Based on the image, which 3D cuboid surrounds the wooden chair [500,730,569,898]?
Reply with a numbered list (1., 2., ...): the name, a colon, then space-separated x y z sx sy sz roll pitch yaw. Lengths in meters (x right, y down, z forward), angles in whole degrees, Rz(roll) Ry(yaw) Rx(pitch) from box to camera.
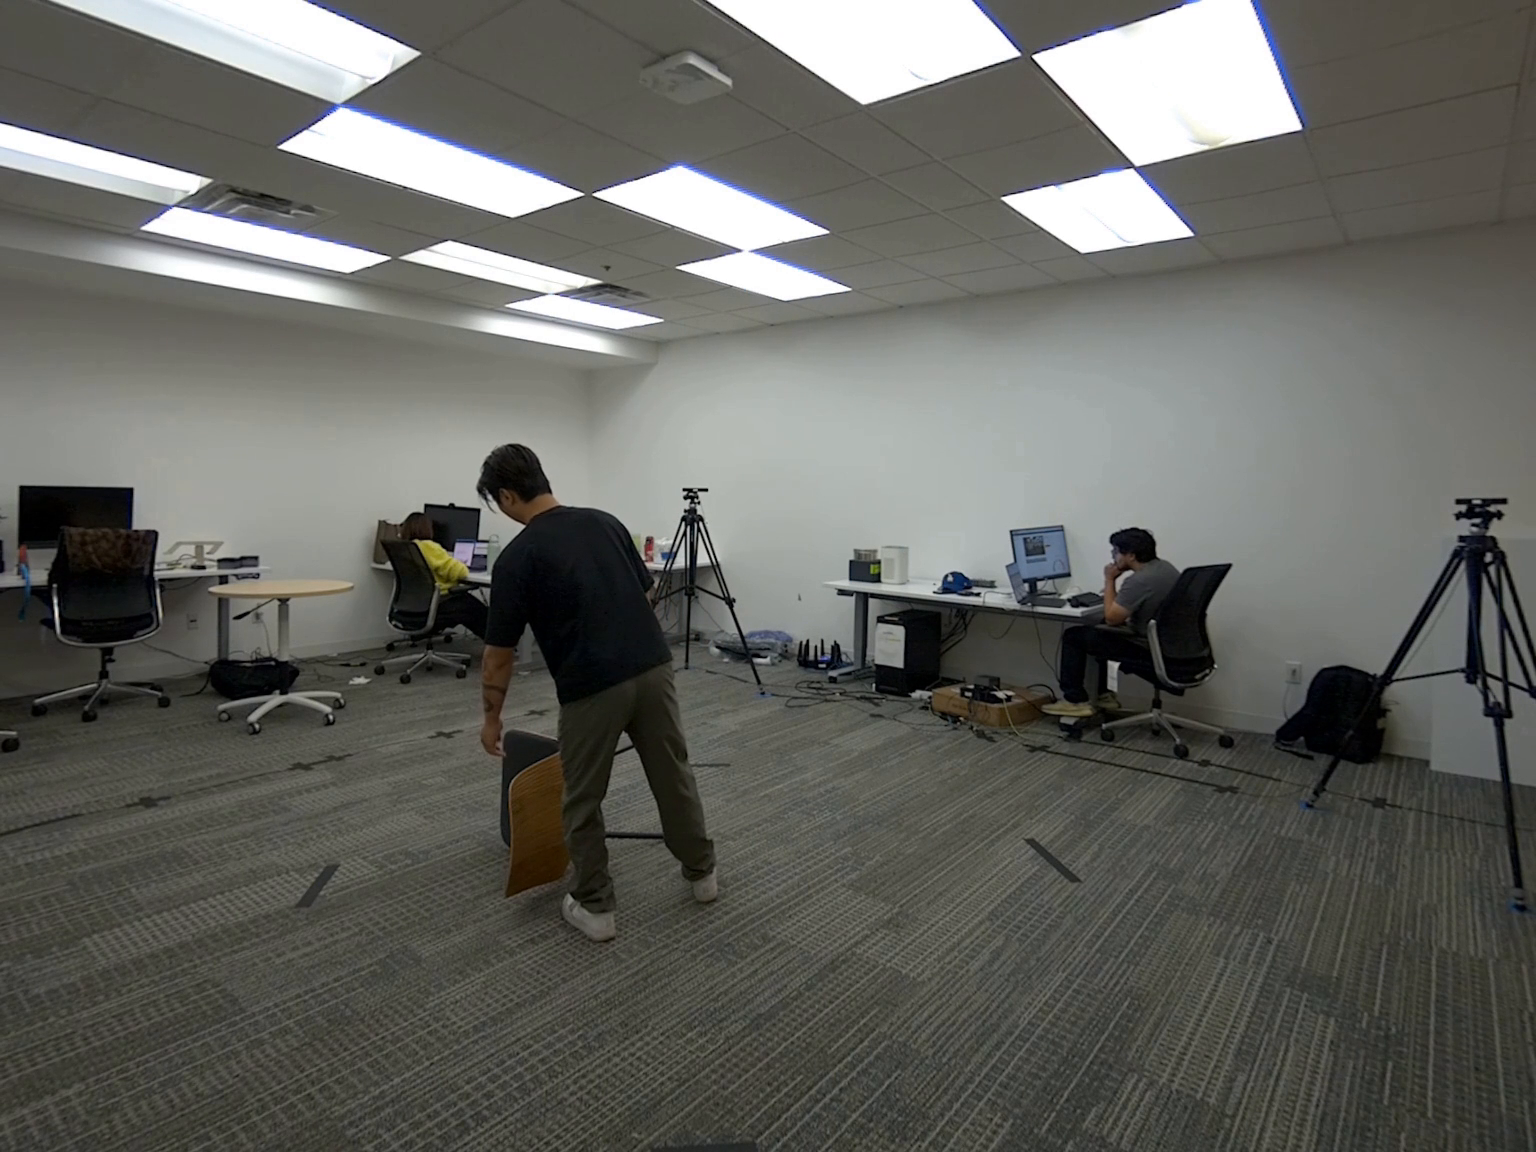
1. wooden chair: -0.824 0.824 3.174 0.539 0.476 0.854 4 5 31
